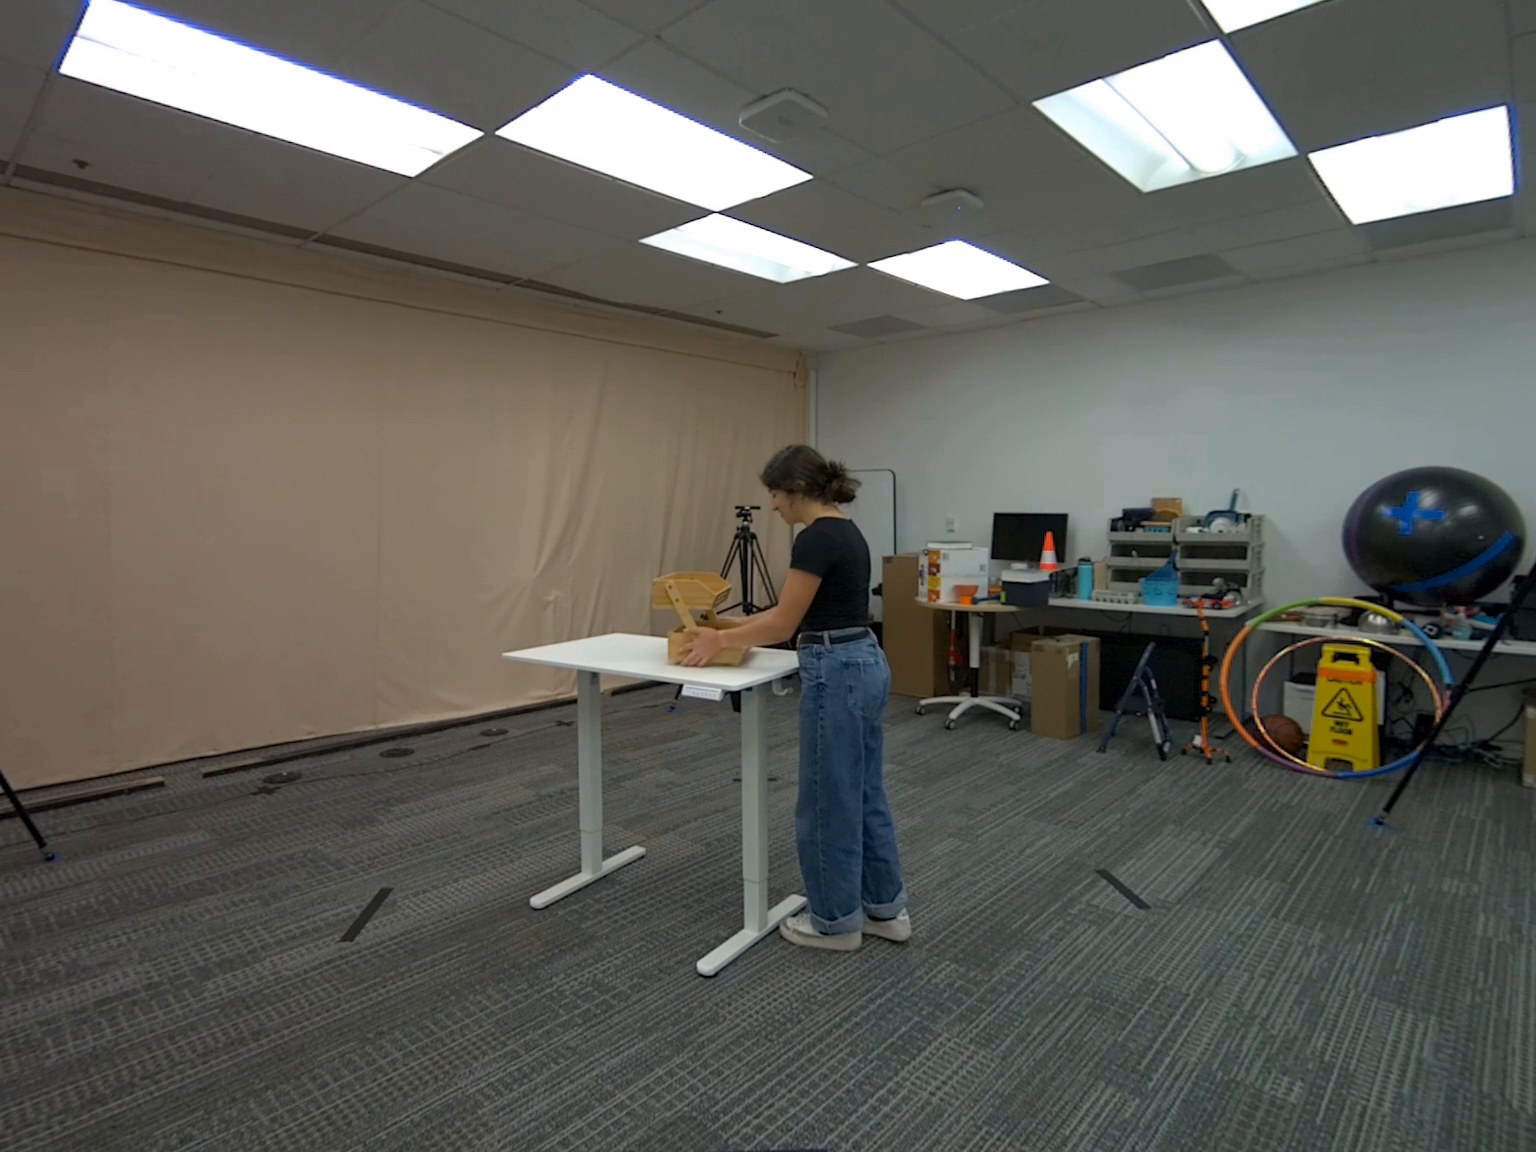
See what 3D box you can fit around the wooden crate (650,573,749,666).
[{"bbox_3d":[-0.193,0.135,2.812,0.305,0.273,0.322,1,4,7],"label":"wooden crate"}]
